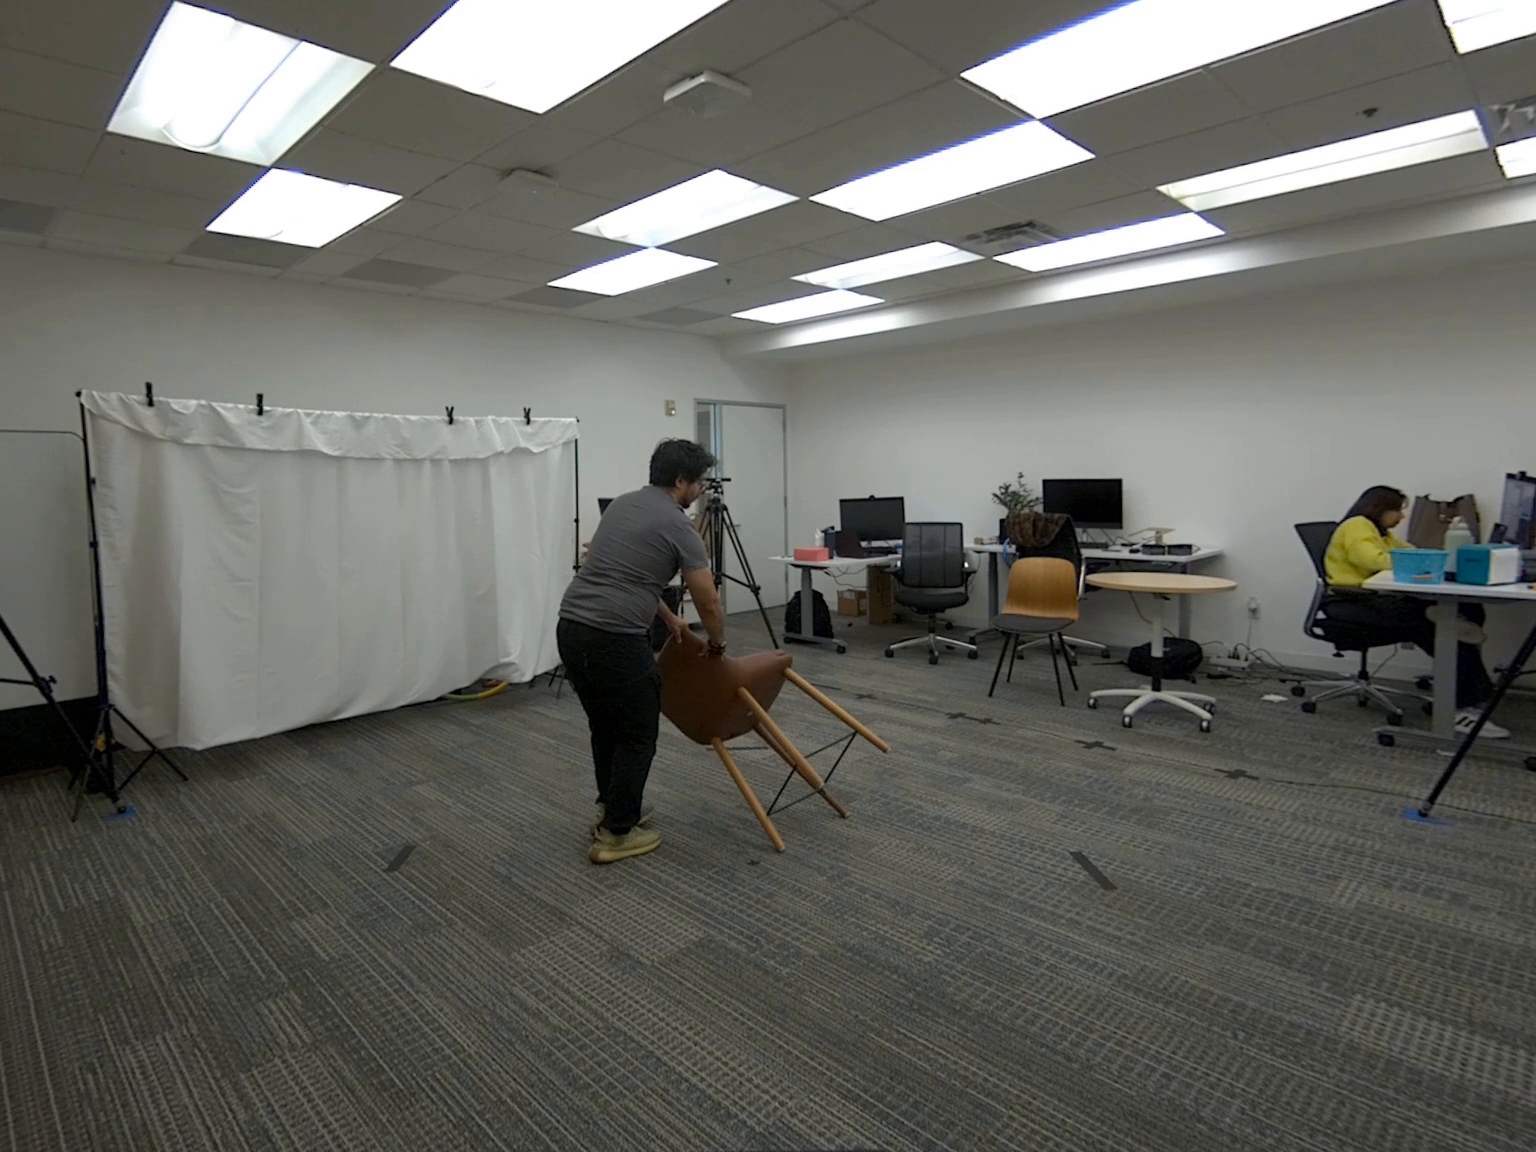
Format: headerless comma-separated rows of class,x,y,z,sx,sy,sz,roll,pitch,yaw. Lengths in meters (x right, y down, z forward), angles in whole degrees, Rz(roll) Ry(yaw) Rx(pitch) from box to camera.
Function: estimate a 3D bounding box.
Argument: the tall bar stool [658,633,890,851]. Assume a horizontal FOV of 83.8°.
tall bar stool,-0.031,0.596,3.494,0.457,0.451,0.920,-12,45,-47
